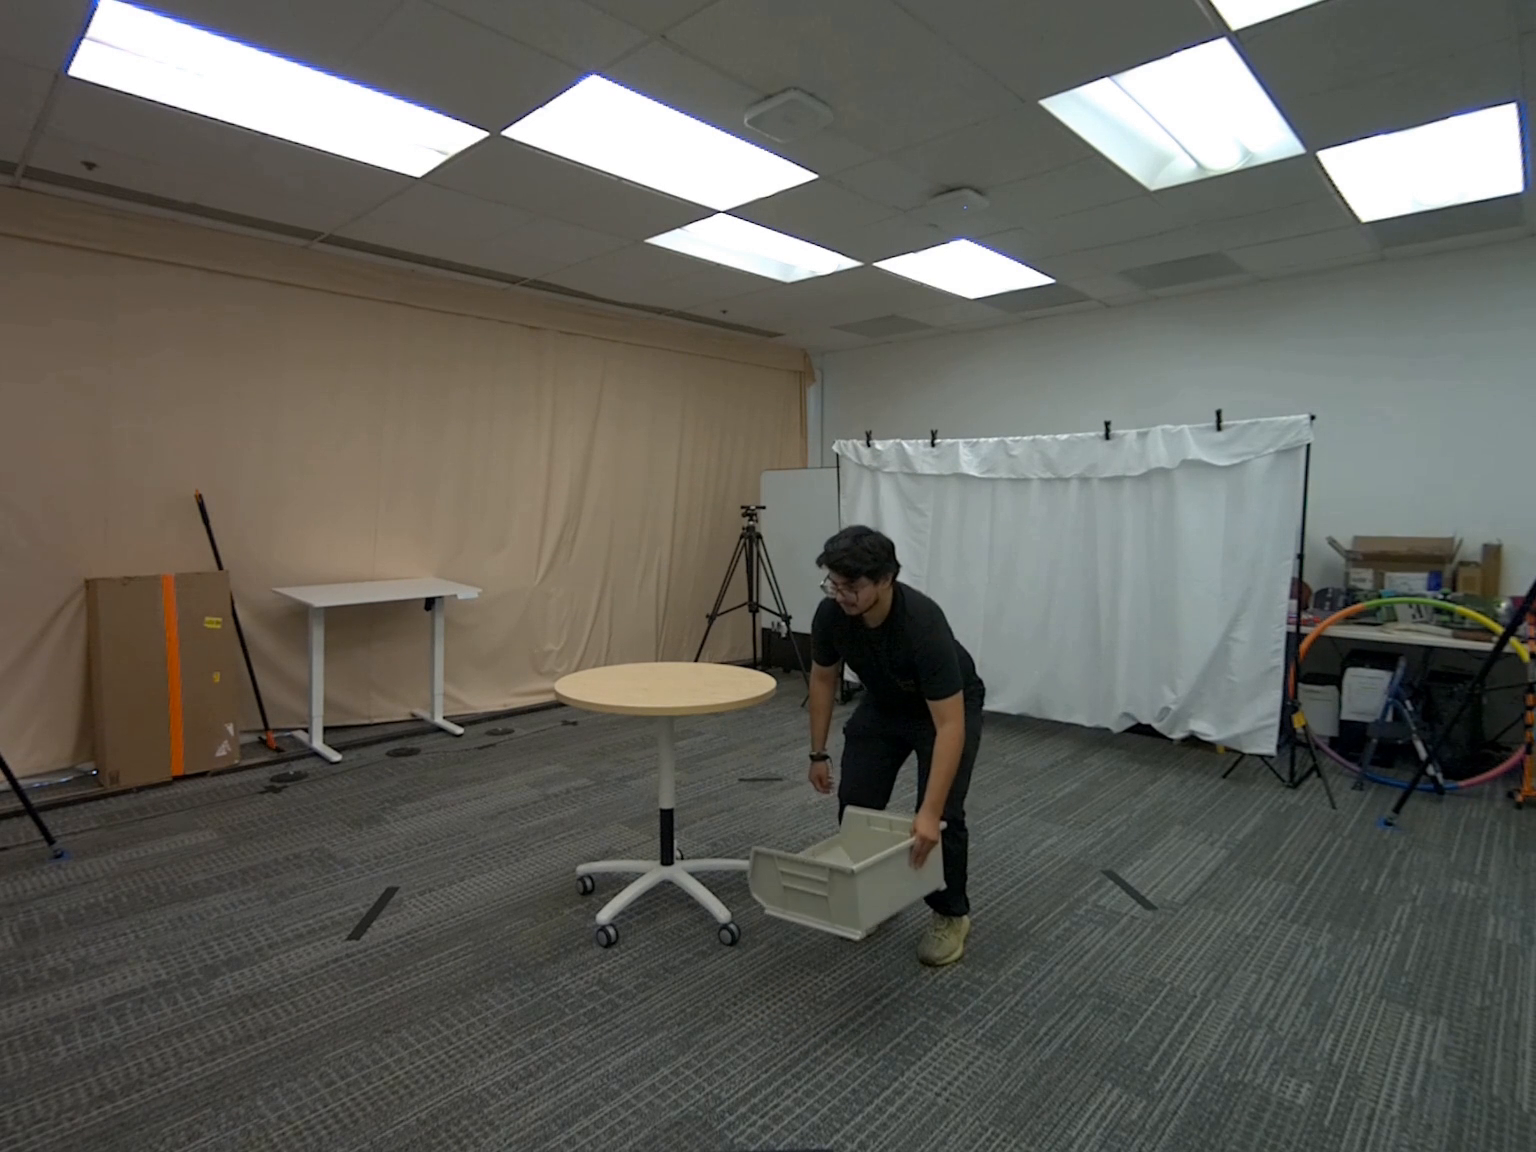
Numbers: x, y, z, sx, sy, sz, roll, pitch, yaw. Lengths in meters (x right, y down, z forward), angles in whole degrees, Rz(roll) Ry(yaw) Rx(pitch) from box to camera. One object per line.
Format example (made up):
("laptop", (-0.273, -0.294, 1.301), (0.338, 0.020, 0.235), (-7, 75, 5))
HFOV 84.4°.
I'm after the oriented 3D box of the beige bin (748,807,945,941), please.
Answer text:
("beige bin", (0.224, 0.794, 2.316), (0.389, 0.189, 0.409), (-3, 1, 45))
